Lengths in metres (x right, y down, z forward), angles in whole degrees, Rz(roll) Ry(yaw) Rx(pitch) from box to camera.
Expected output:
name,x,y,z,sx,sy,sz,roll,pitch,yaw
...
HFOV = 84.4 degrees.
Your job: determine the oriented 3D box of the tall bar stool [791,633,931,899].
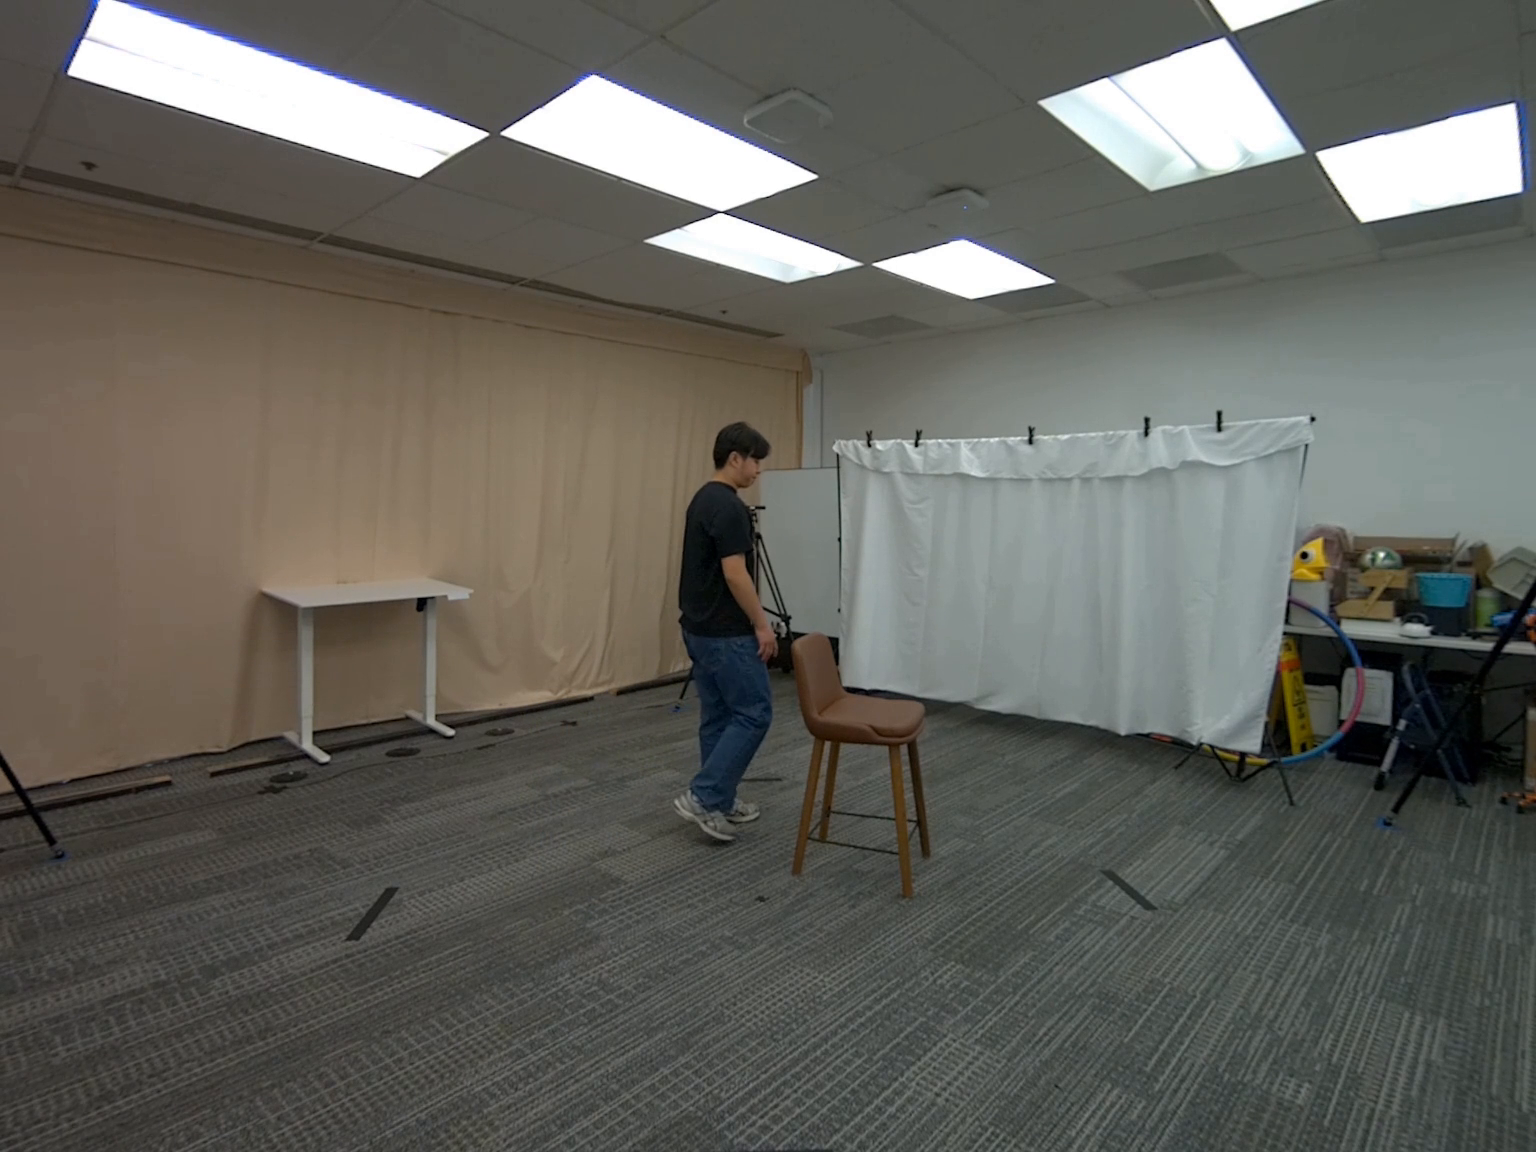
name,x,y,z,sx,sy,sz,roll,pitch,yaw
tall bar stool,0.361,0.683,3.233,0.479,0.888,0.446,-1,2,23
